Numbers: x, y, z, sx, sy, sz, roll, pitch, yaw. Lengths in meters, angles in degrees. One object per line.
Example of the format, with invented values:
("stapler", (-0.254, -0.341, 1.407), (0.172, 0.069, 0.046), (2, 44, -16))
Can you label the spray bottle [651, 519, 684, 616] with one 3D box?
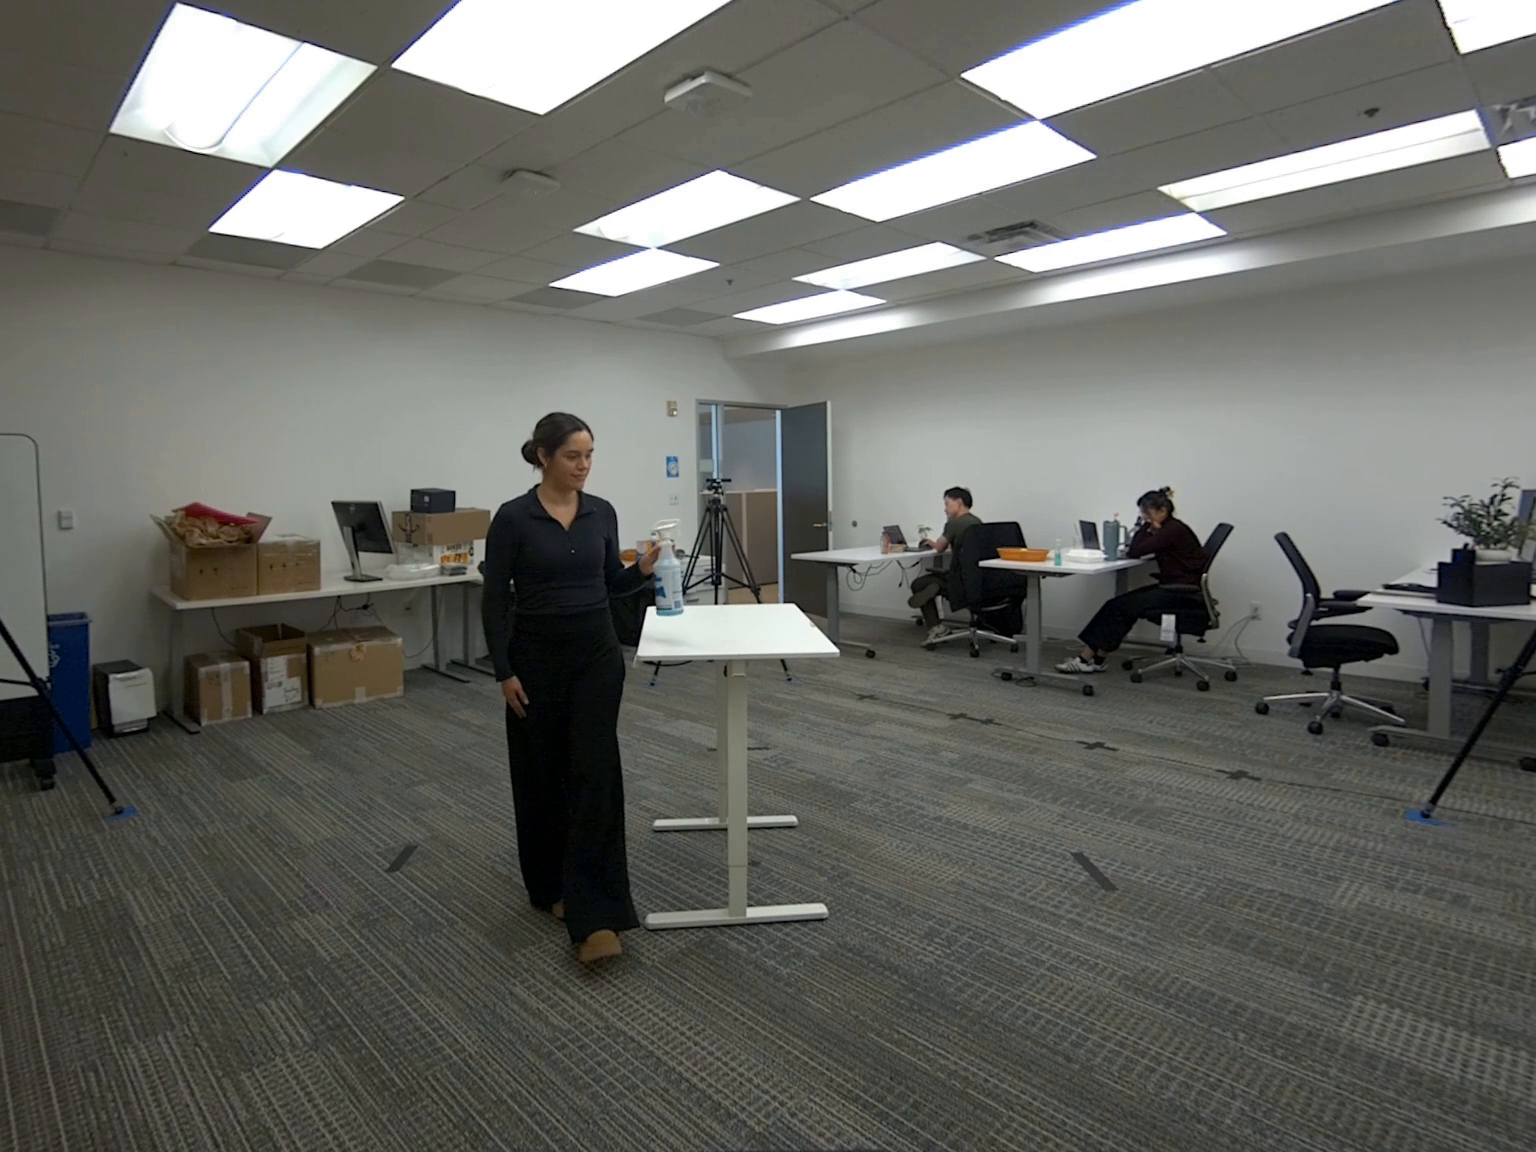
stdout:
("spray bottle", (-0.315, -0.025, 2.652), (0.092, 0.297, 0.085), (-2, 0, 19))
